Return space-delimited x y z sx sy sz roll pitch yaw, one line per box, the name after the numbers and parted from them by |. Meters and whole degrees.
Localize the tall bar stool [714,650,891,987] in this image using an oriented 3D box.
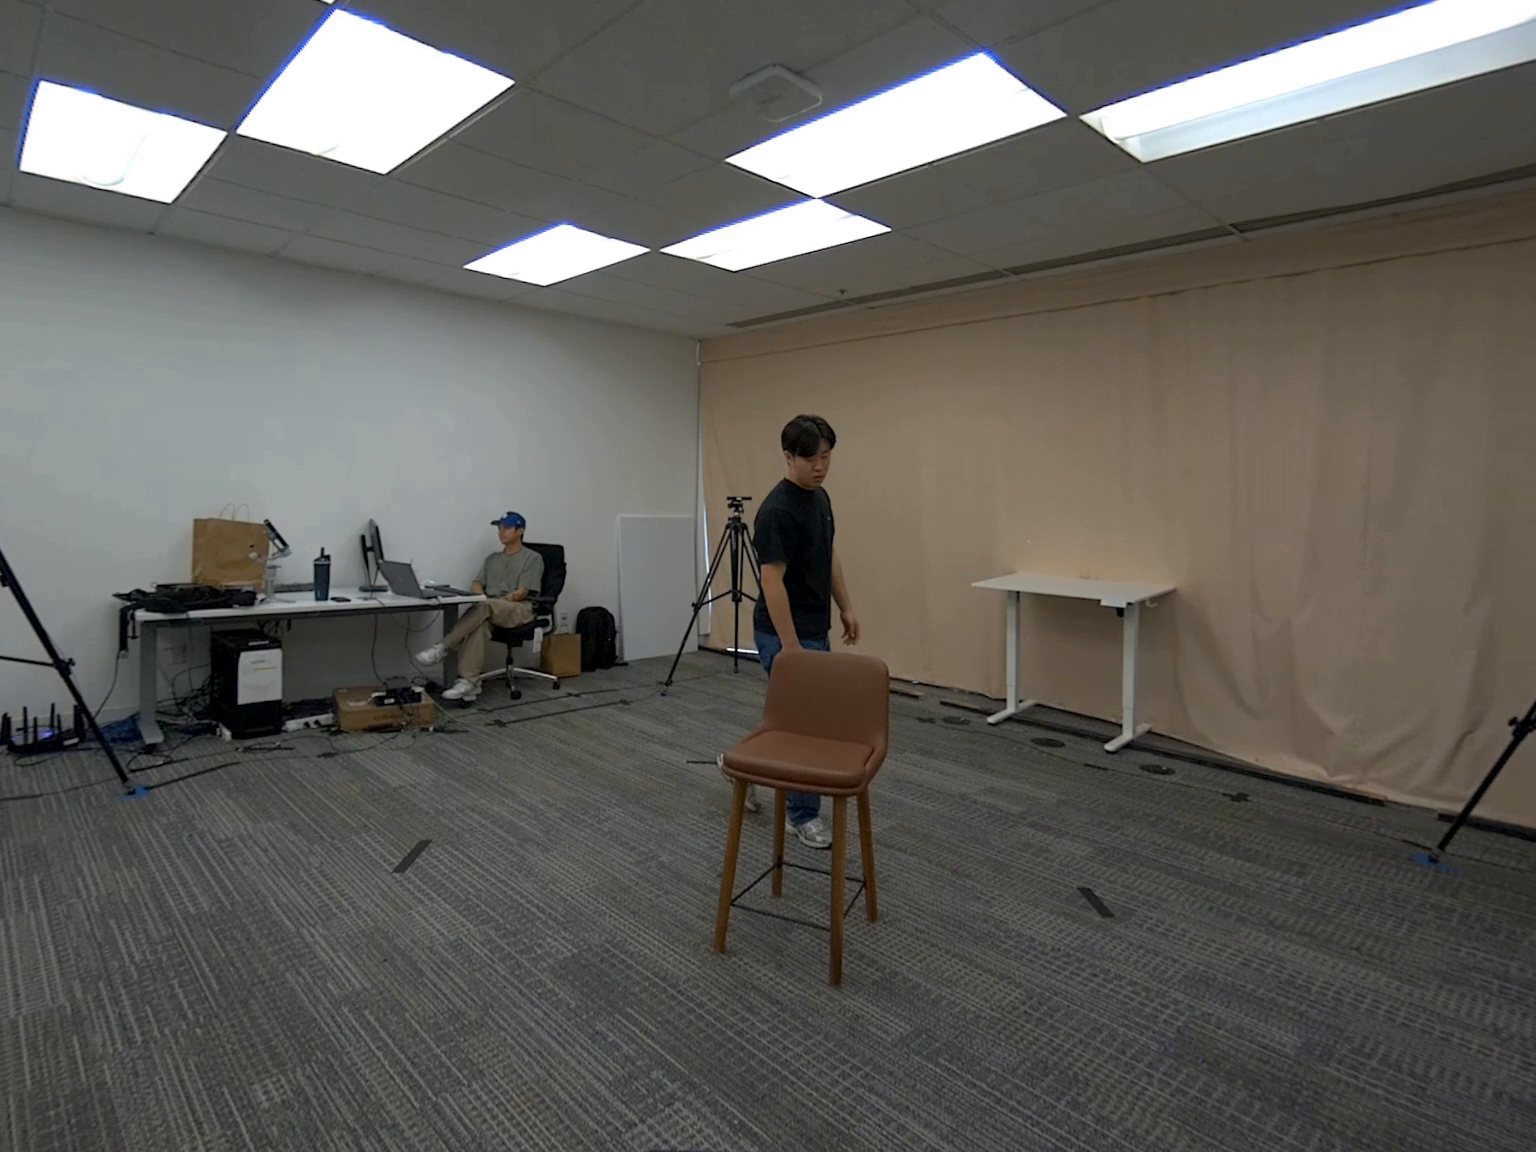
0.118 0.716 2.666 0.466 0.889 0.459 3 2 26 | tall bar stool
